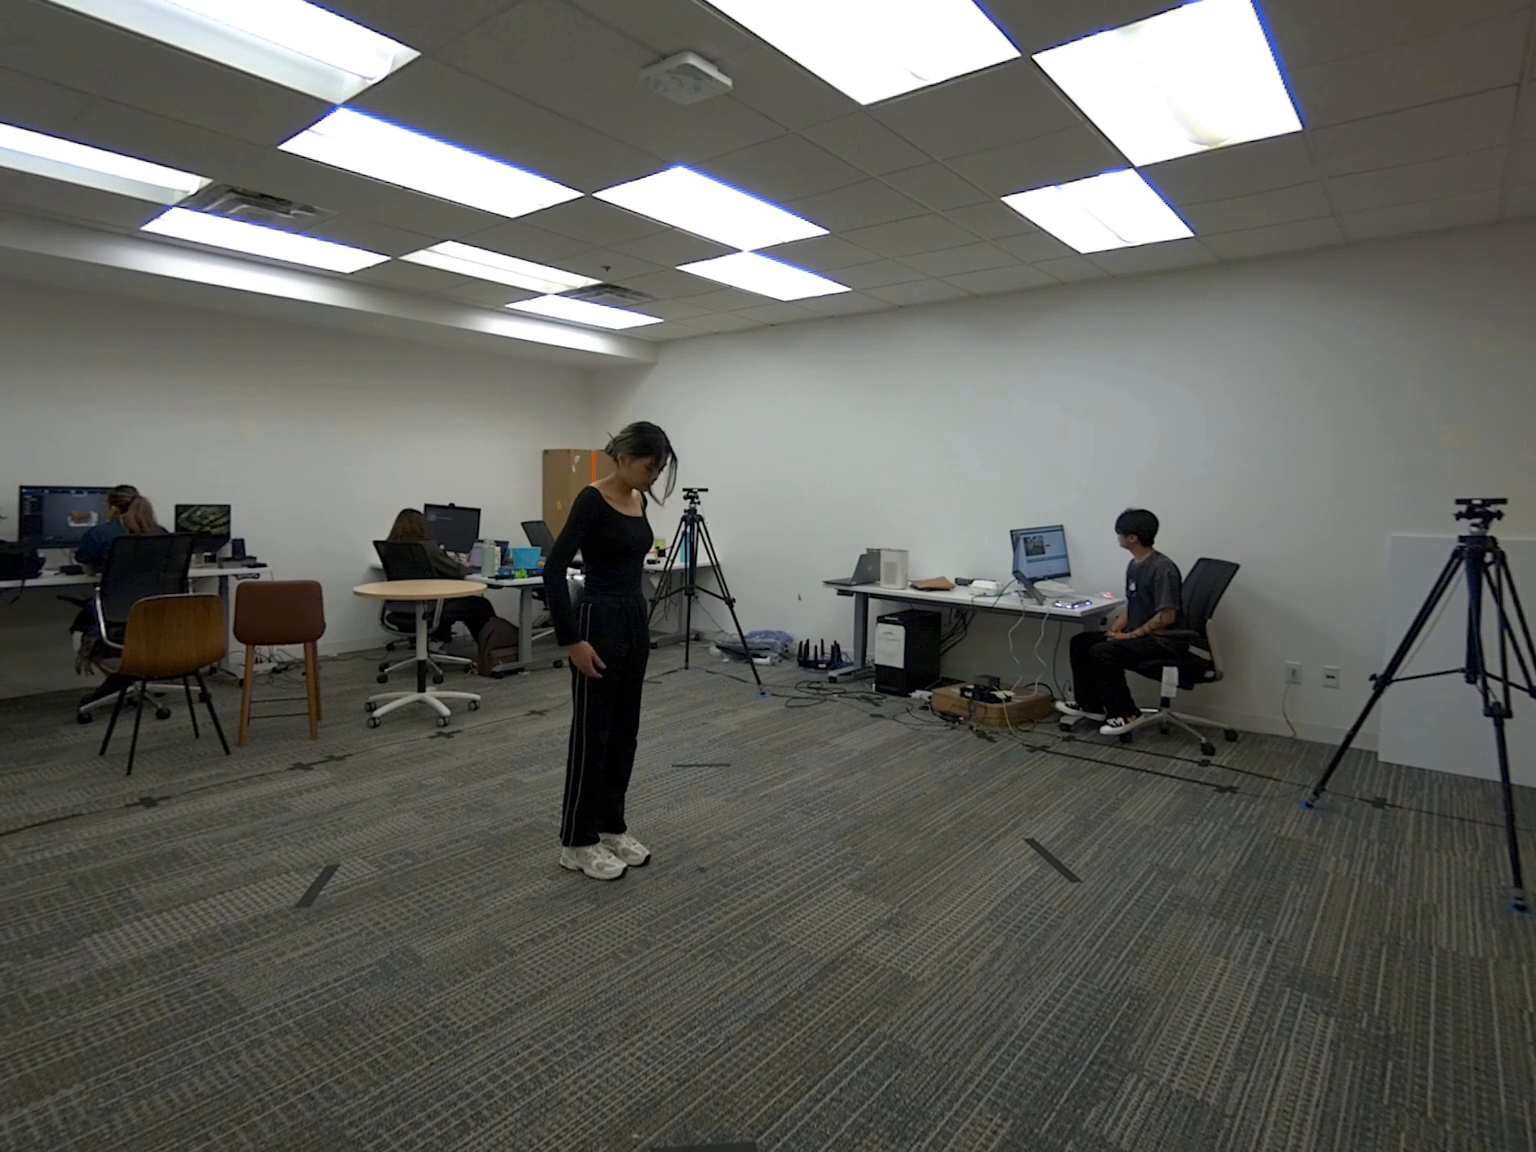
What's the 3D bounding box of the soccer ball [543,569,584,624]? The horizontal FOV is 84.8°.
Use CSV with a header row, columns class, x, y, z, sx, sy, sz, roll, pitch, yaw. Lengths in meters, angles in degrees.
class,x,y,z,sx,sy,sz,roll,pitch,yaw
soccer ball,-0.763,0.078,3.273,0.187,0.187,0.188,1,4,-2
